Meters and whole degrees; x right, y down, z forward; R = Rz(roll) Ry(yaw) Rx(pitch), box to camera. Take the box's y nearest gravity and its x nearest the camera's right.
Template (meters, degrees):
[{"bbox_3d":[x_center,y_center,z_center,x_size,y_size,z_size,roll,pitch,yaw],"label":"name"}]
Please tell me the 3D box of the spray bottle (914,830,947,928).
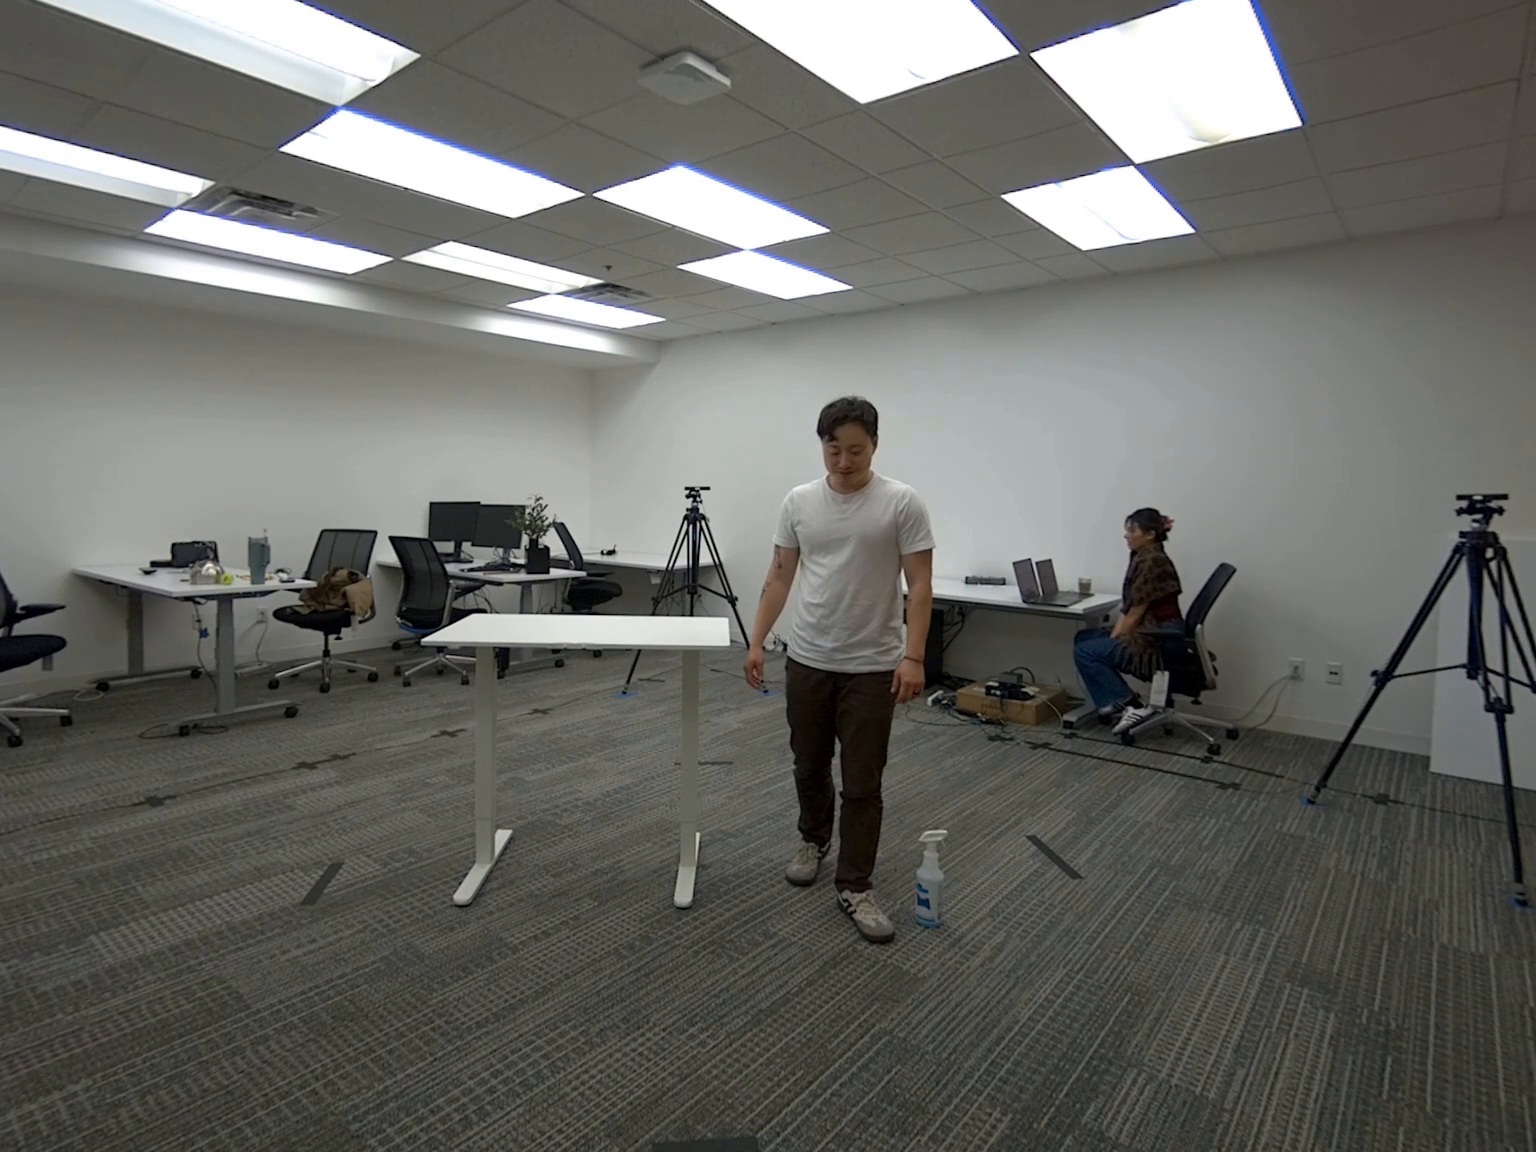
[{"bbox_3d":[0.520,0.977,2.744,0.092,0.296,0.085,3,3,17],"label":"spray bottle"}]
